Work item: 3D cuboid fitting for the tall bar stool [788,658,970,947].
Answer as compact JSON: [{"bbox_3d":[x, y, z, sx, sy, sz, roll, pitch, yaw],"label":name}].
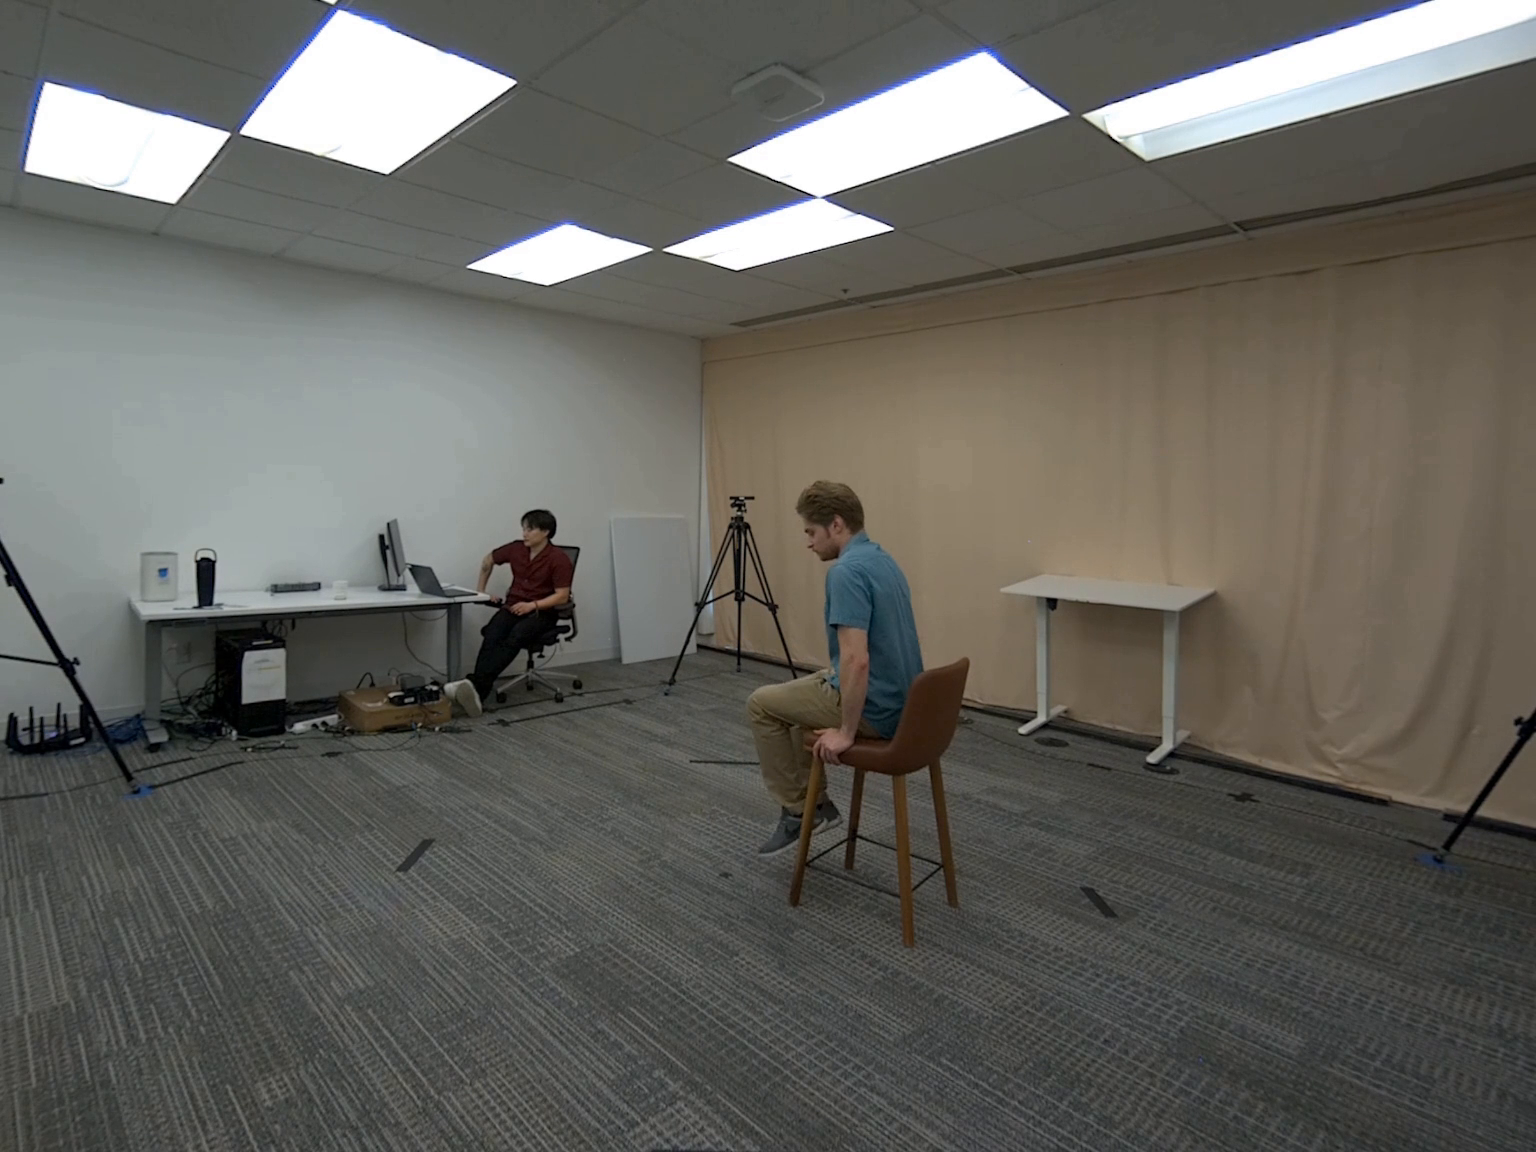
[{"bbox_3d":[0.383,0.702,2.874,0.479,0.886,0.447,7,7,36],"label":"tall bar stool"}]
